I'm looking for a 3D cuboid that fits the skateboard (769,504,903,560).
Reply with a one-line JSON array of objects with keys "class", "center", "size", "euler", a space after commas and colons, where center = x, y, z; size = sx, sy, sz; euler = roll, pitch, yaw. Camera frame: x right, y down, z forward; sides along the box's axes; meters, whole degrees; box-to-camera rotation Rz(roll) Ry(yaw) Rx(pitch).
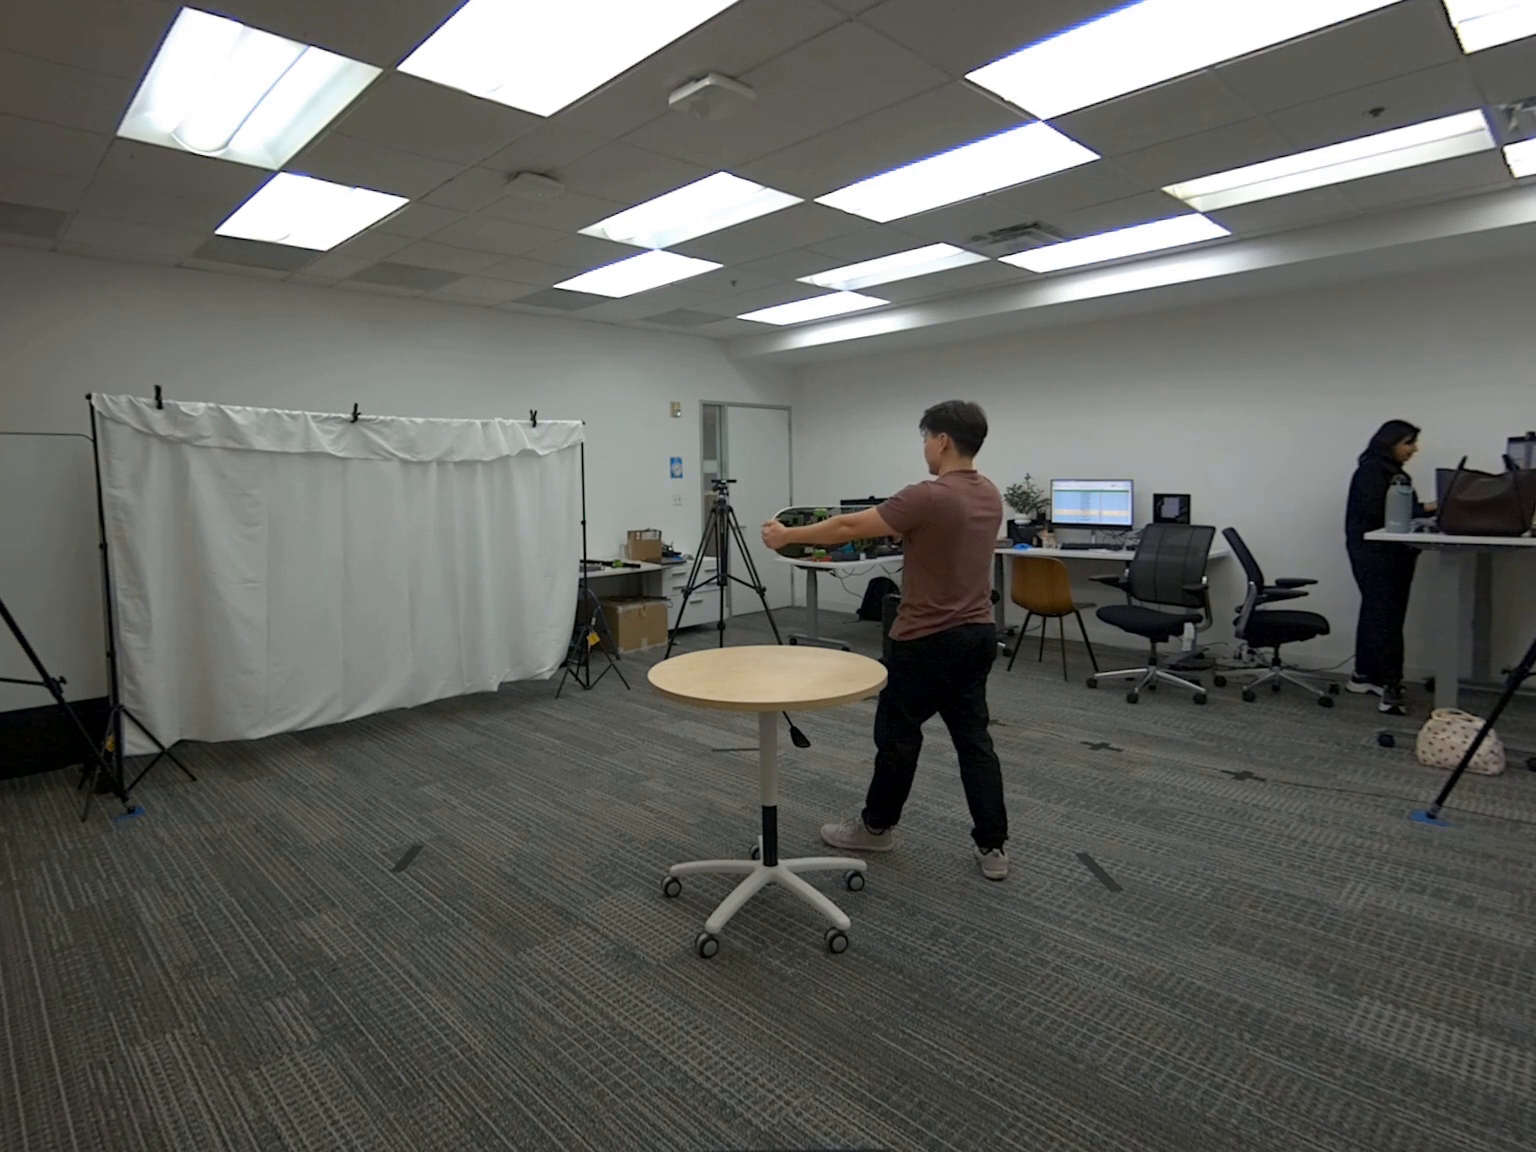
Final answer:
[{"class": "skateboard", "center": [0.310, -0.185, 3.362], "size": [0.114, 0.193, 0.764], "euler": [3, 6, 44]}]
